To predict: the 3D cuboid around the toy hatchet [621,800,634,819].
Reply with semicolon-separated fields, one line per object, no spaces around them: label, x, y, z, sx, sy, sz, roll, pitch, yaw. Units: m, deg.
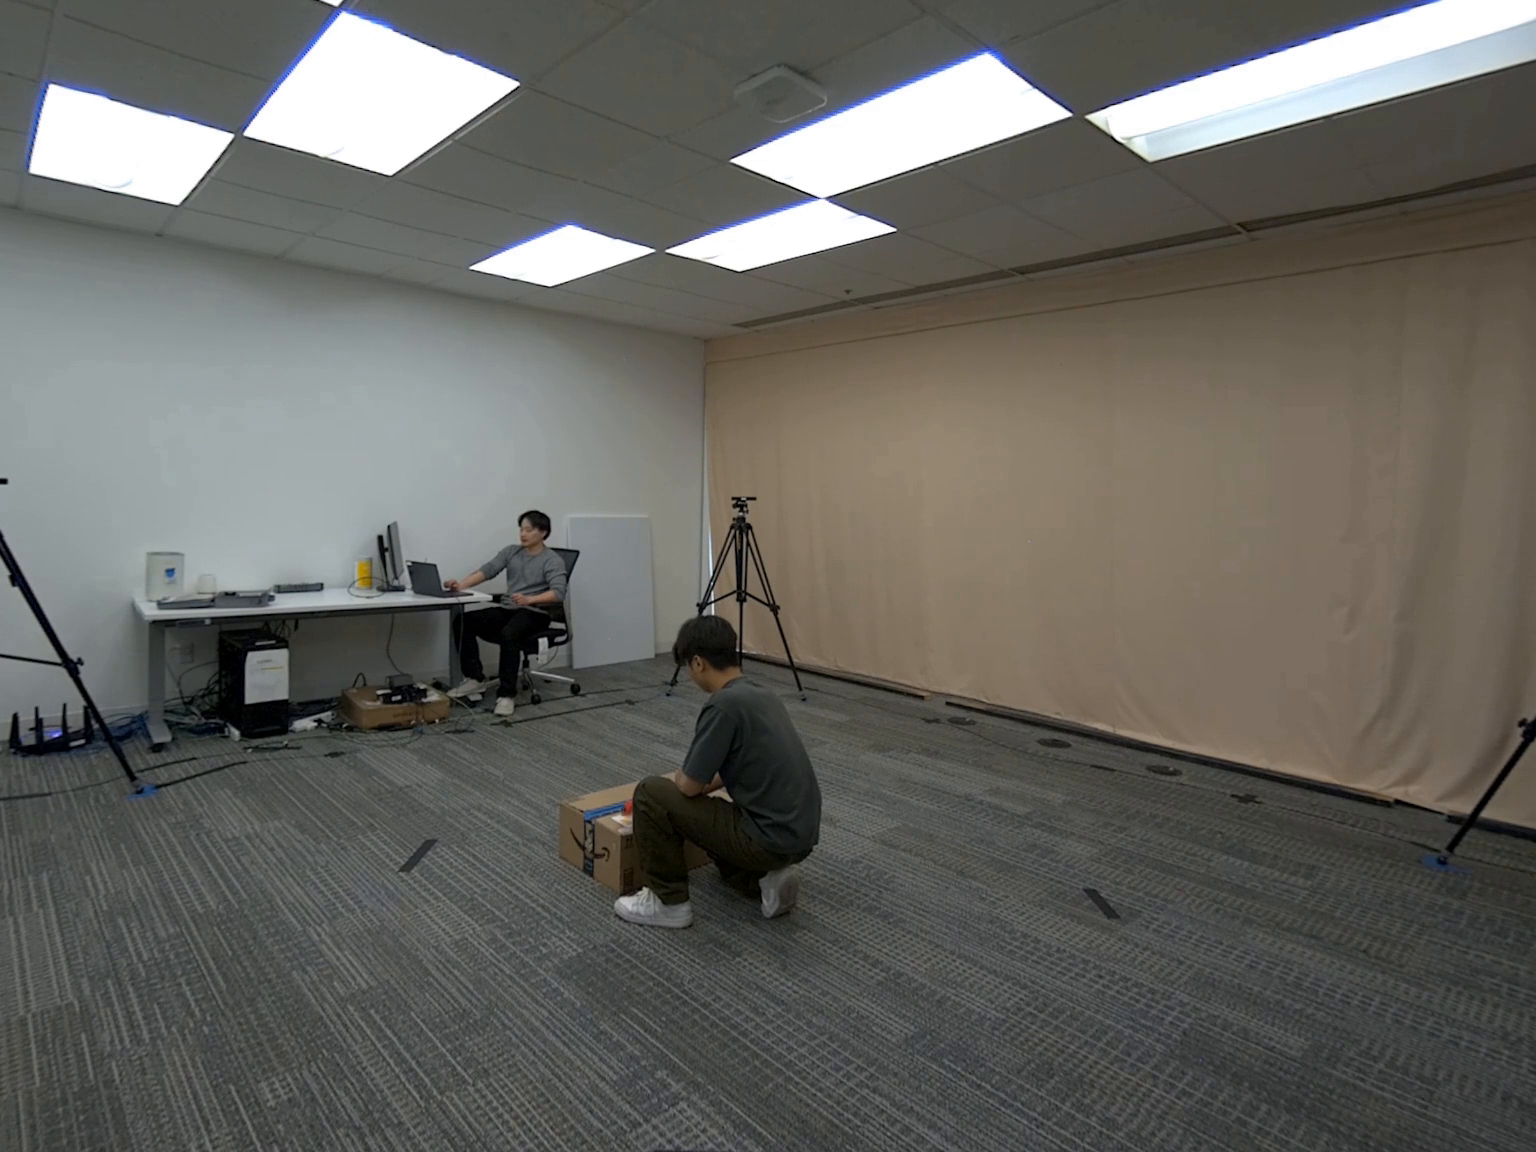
toy hatchet;-0.423;0.856;3.071;0.131;0.030;0.262;-38;-38;25
